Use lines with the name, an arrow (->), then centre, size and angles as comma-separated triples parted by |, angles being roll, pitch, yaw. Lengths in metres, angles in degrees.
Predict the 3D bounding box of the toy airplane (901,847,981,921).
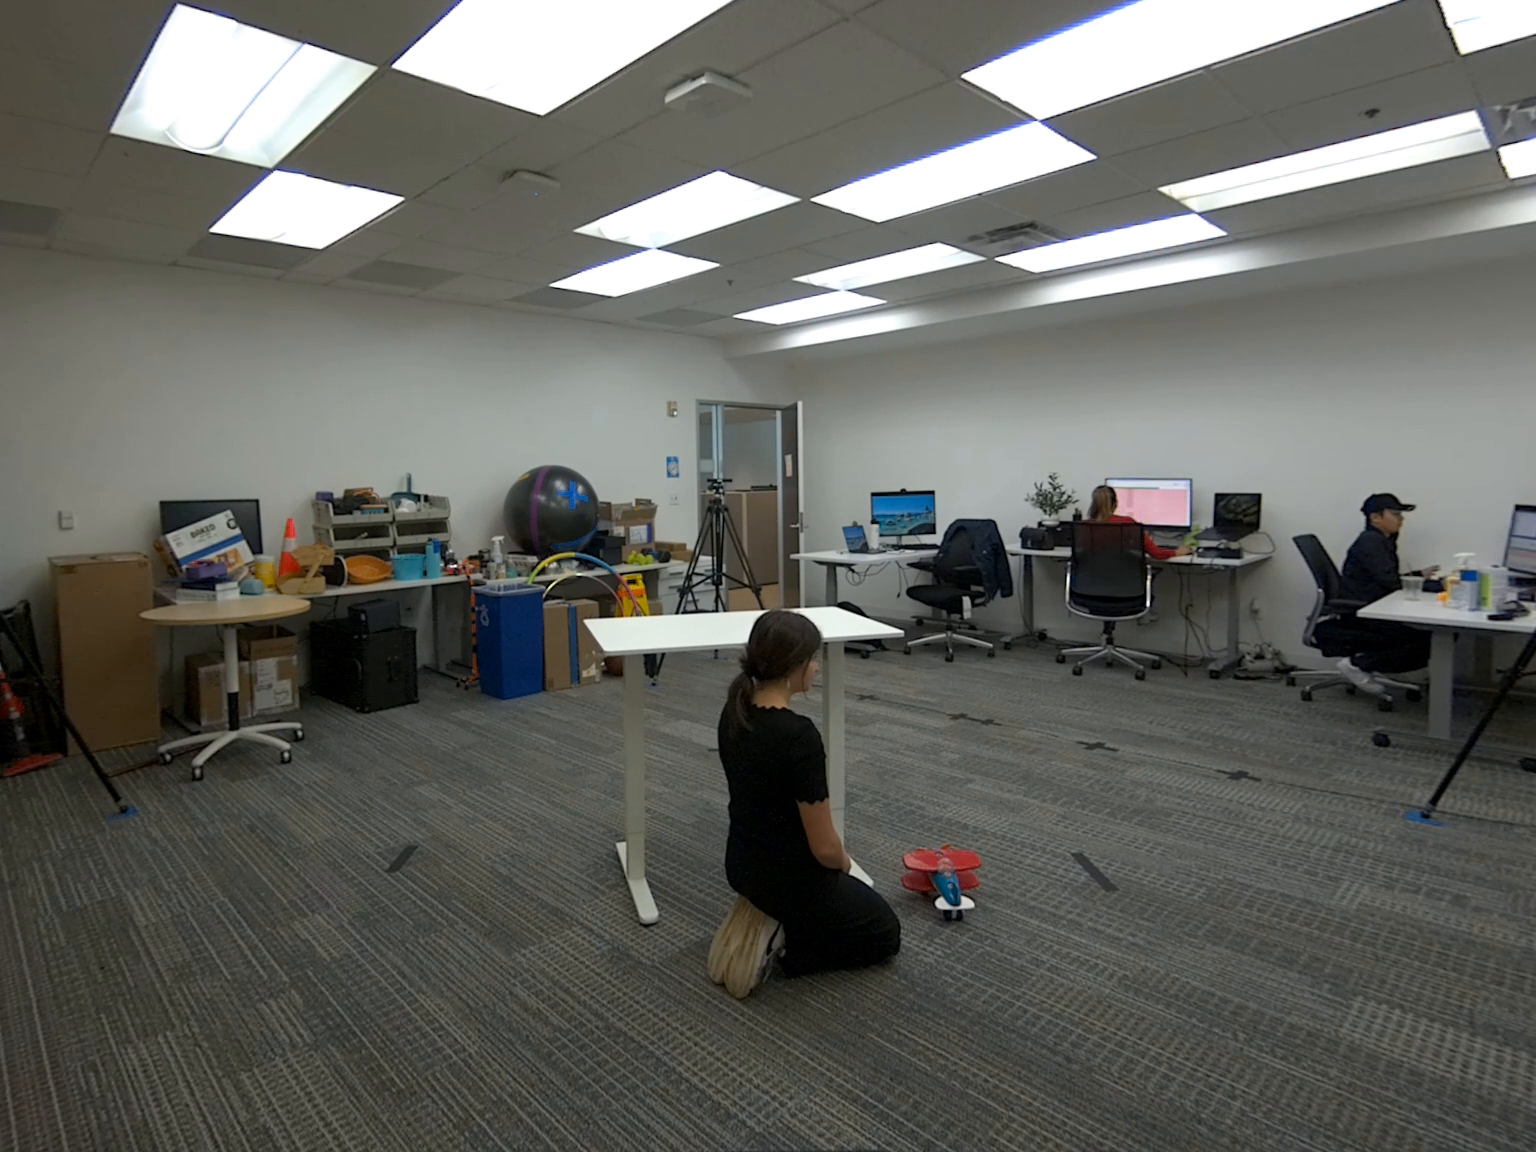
toy airplane -> 0.595, 0.996, 2.777 | 0.245, 0.156, 0.266 | -4, 6, -32
